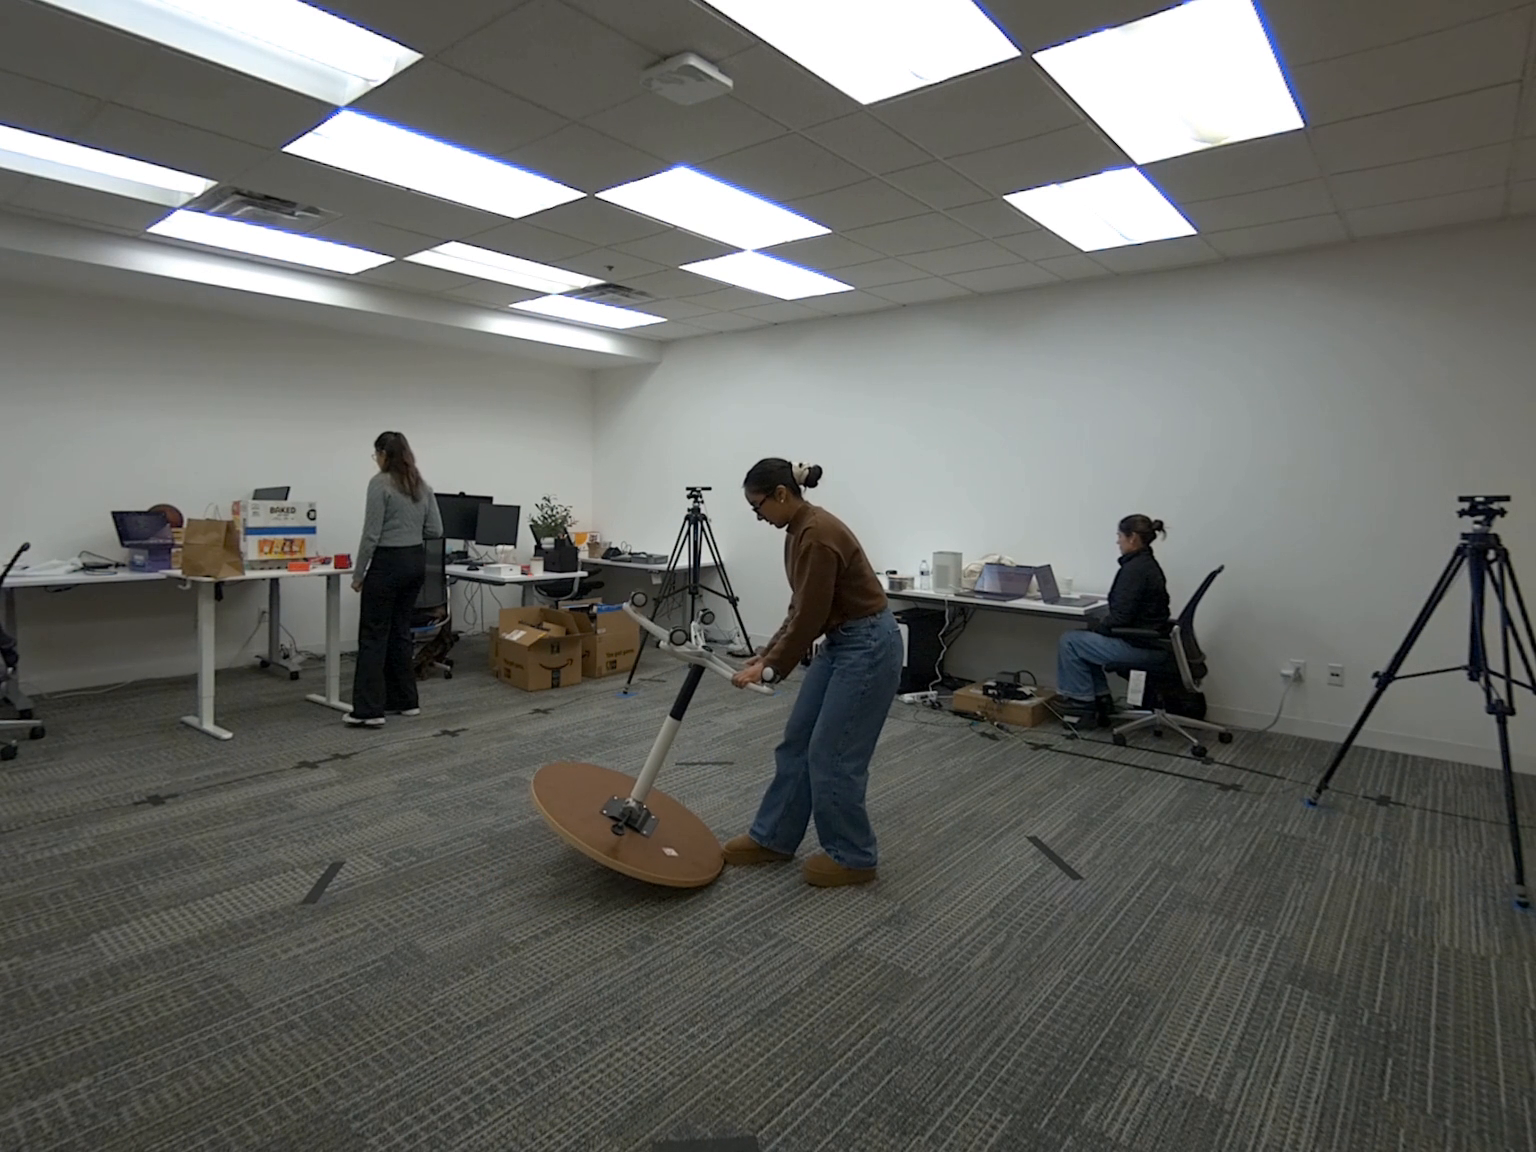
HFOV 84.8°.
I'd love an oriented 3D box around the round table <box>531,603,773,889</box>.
[{"bbox_3d":[-0.373,0.558,3.112,0.762,0.793,0.768,23,3,-3],"label":"round table"}]
